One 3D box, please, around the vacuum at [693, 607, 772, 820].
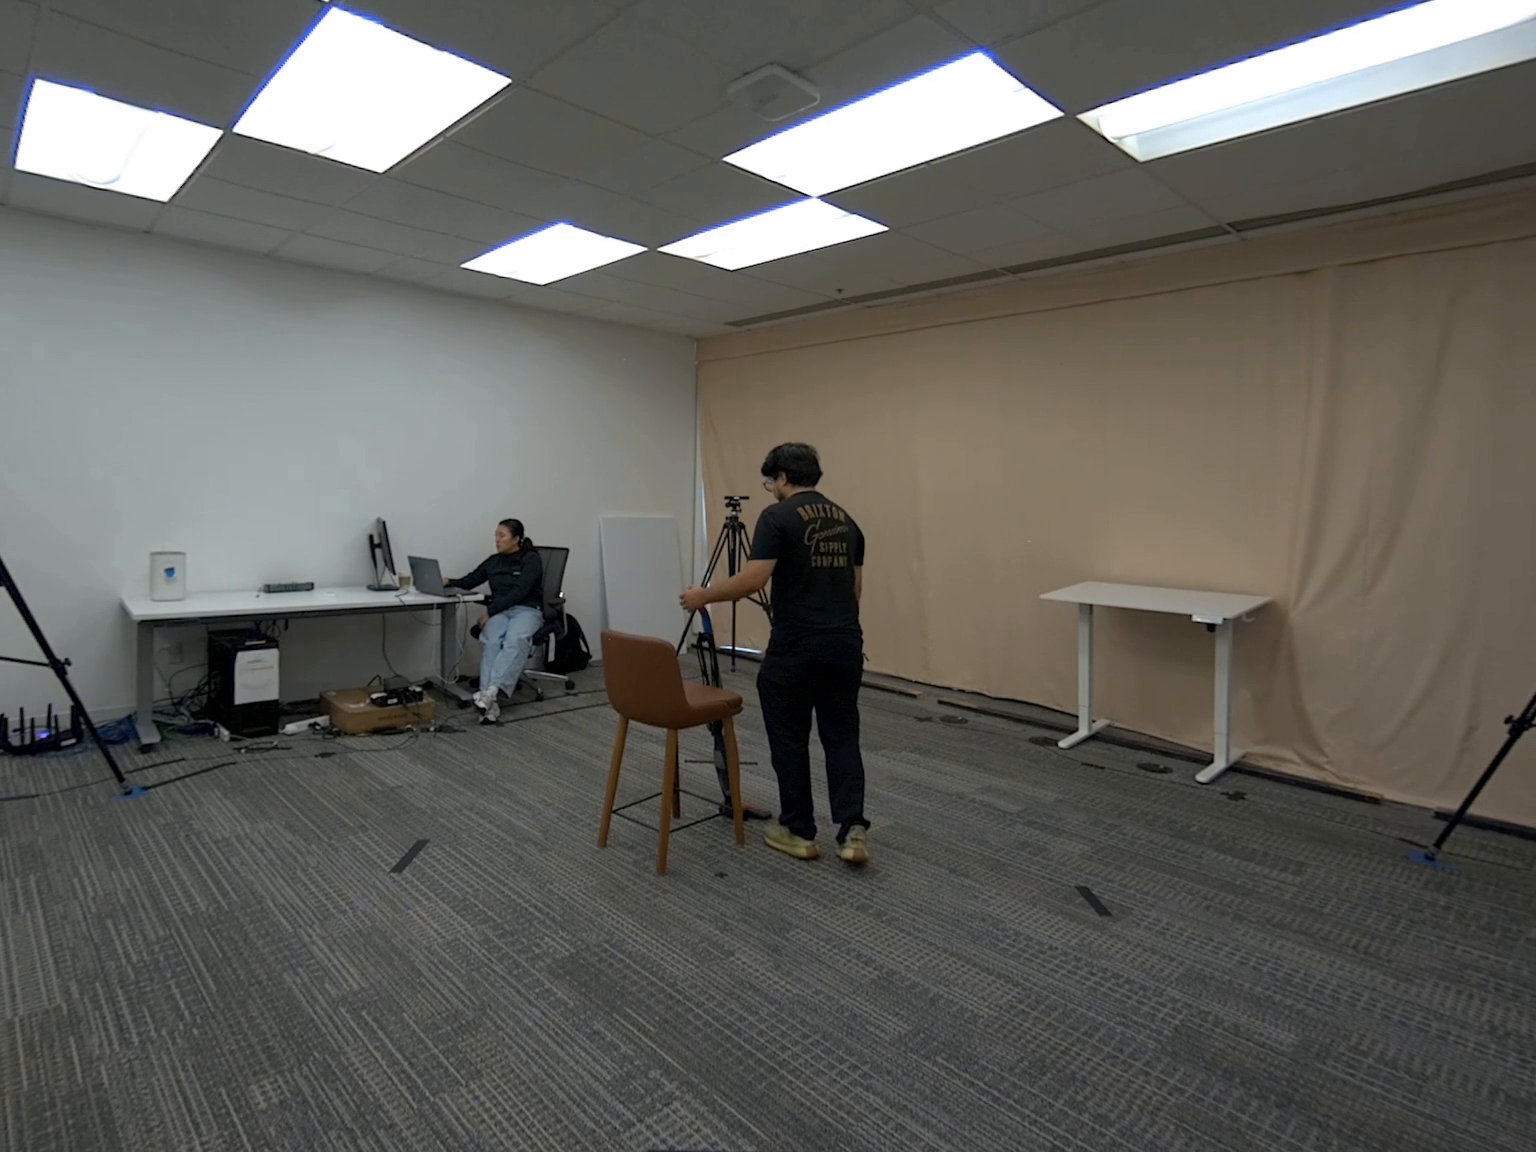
[{"bbox_3d":[-0.221,0.568,3.559,0.258,1.034,0.143,1,21,36],"label":"vacuum"}]
